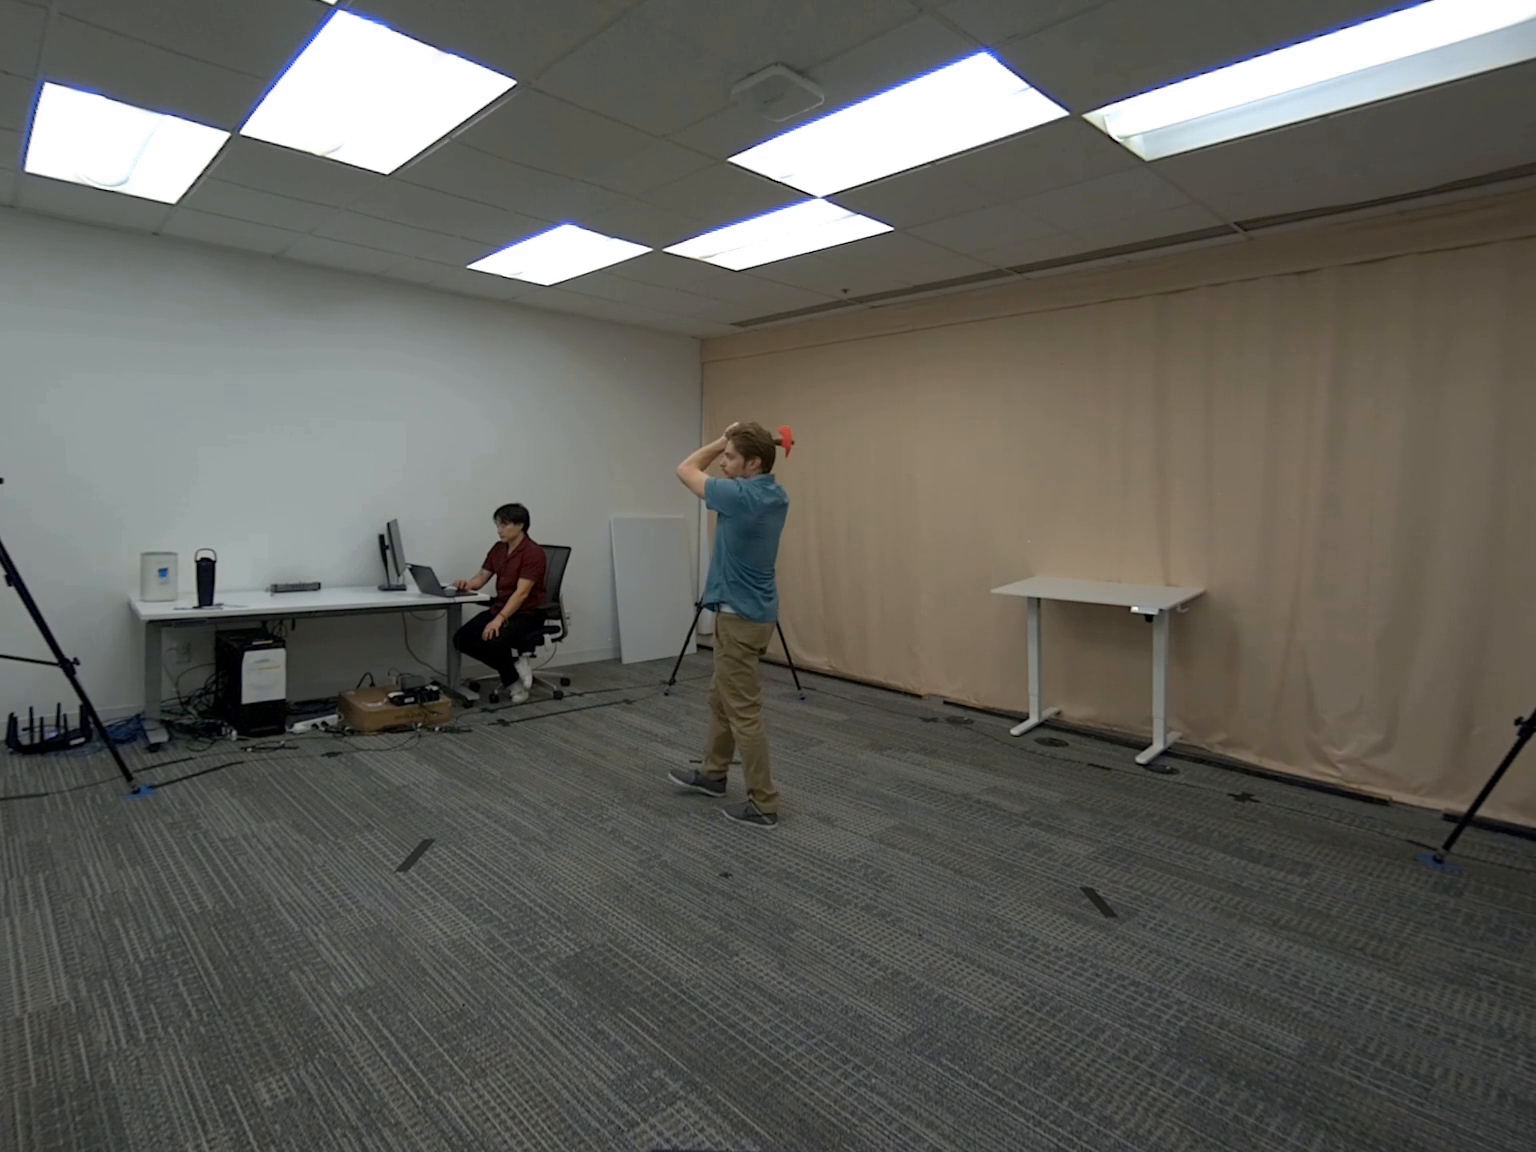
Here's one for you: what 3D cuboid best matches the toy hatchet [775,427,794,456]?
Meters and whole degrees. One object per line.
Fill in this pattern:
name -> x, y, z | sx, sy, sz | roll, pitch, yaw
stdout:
toy hatchet -> -0.030, -0.631, 3.694 | 0.270, 0.130, 0.030 | 21, 8, 0
